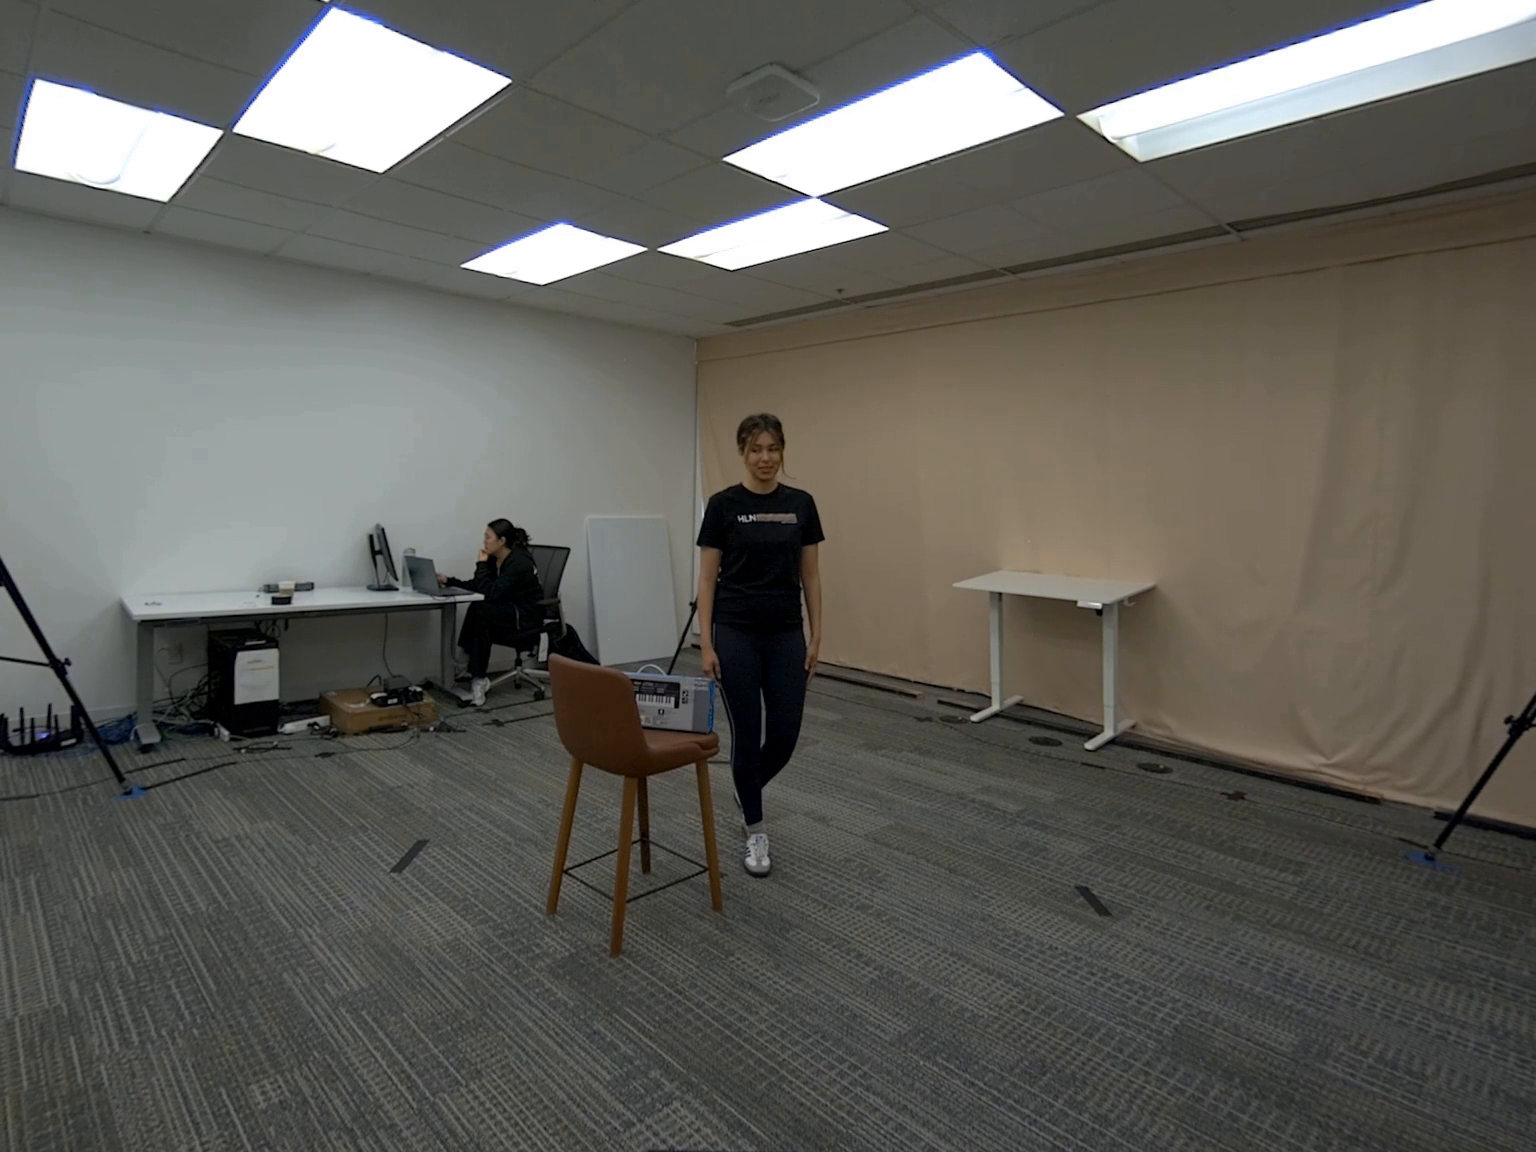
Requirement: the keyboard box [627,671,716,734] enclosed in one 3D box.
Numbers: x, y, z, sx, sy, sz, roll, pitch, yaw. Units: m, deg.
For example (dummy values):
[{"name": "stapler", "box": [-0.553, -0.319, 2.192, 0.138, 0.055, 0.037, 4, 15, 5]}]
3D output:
[{"name": "keyboard box", "box": [-0.406, 0.418, 2.836, 0.442, 0.176, 0.058, 2, -2, 14]}]
